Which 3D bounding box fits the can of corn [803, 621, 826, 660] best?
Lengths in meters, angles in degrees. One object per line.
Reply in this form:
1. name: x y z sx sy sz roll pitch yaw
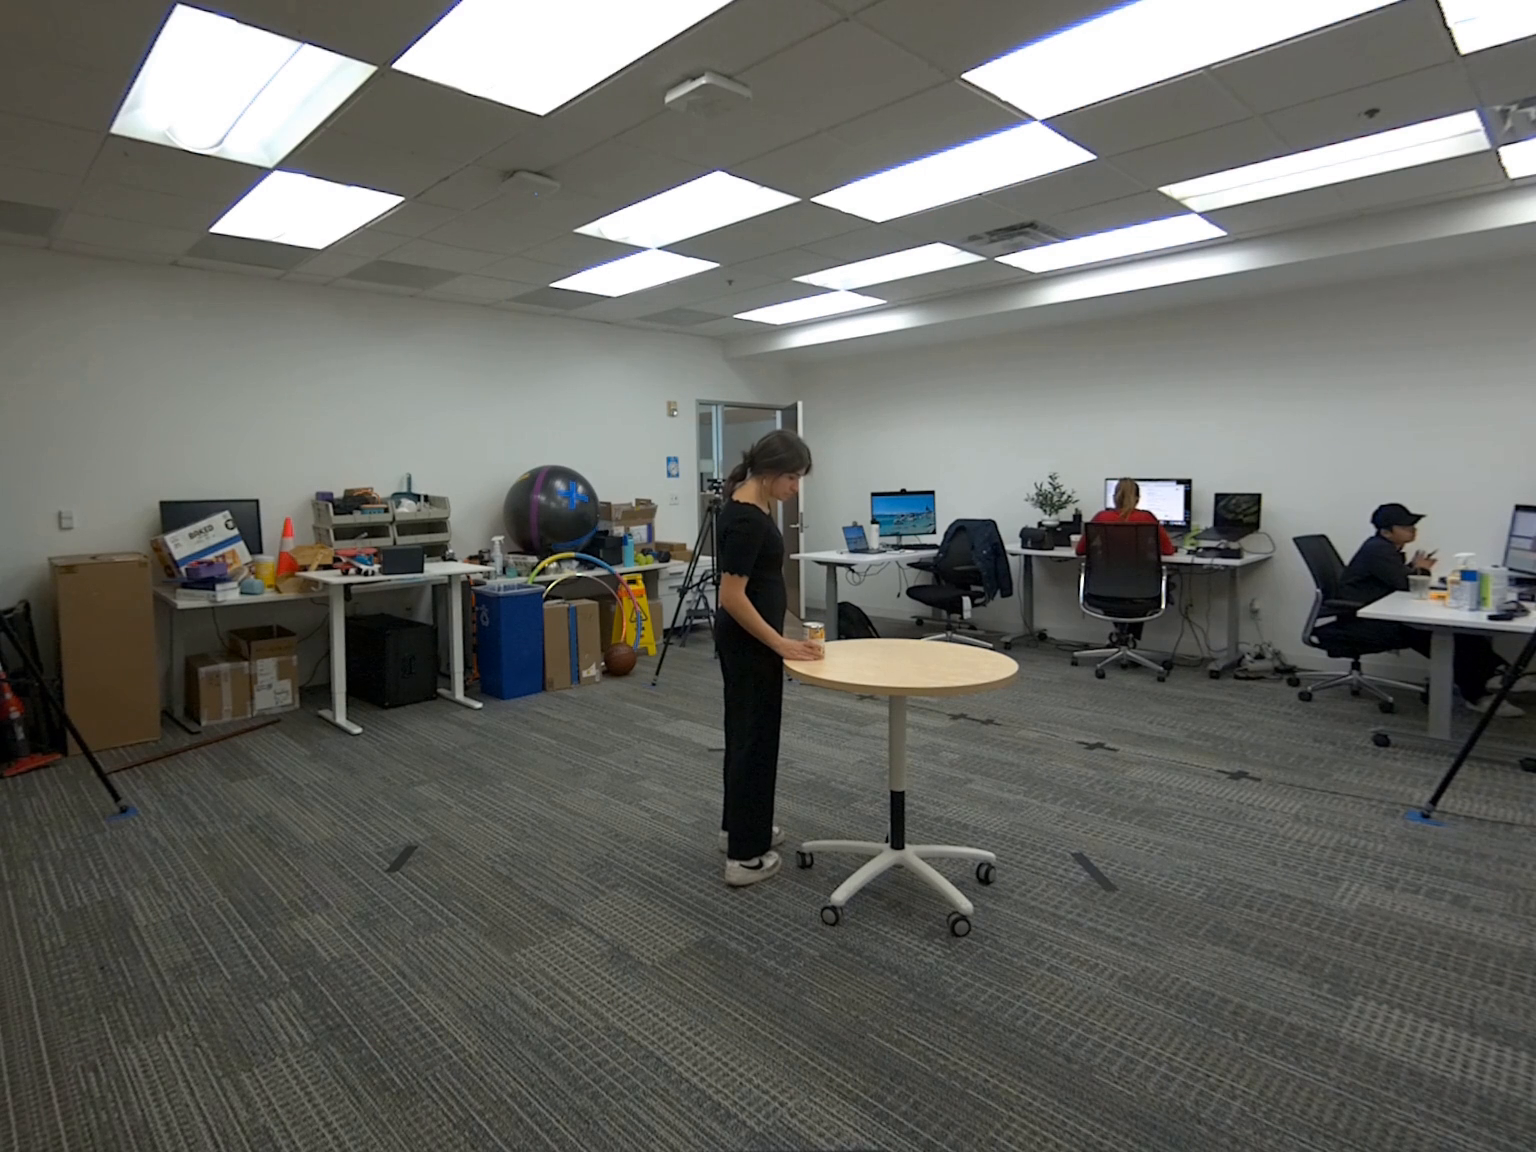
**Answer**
1. can of corn: 0.151 0.218 2.927 0.074 0.110 0.075 -2 6 -1
